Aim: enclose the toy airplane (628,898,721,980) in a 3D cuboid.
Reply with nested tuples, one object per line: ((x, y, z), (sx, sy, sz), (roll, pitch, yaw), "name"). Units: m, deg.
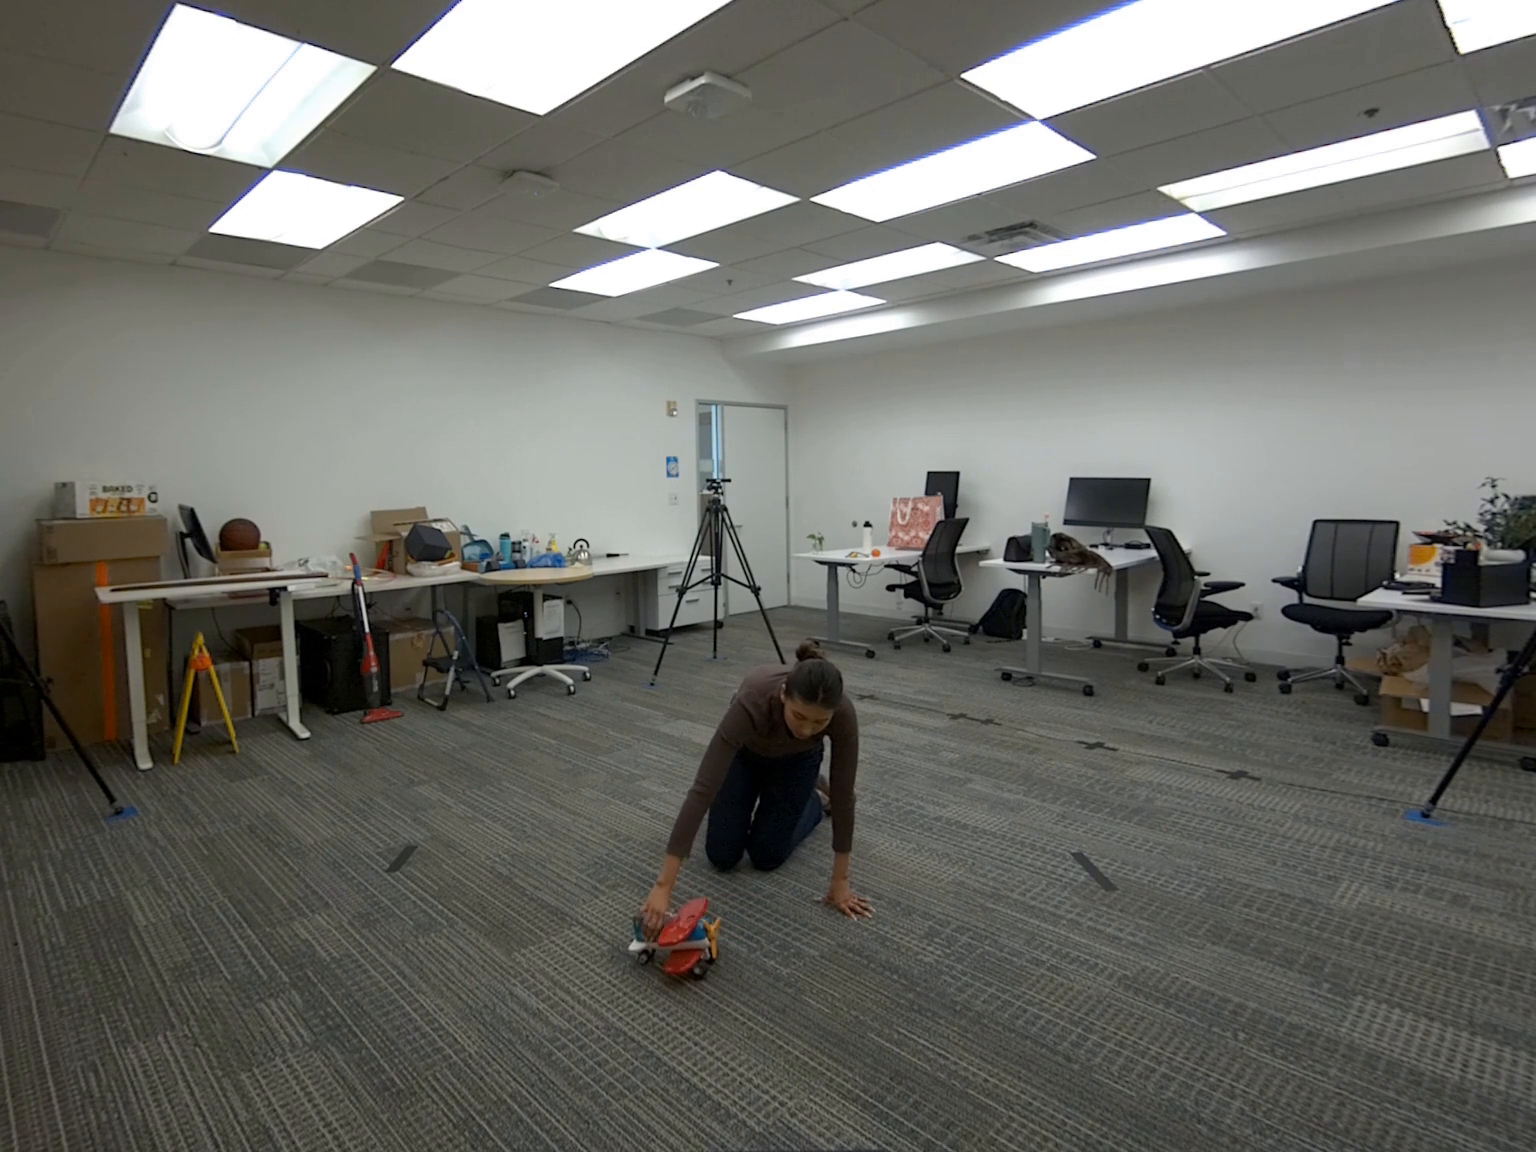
((-0.266, 1.055, 2.444), (0.257, 0.156, 0.254), (-3, 5, -10), "toy airplane")
